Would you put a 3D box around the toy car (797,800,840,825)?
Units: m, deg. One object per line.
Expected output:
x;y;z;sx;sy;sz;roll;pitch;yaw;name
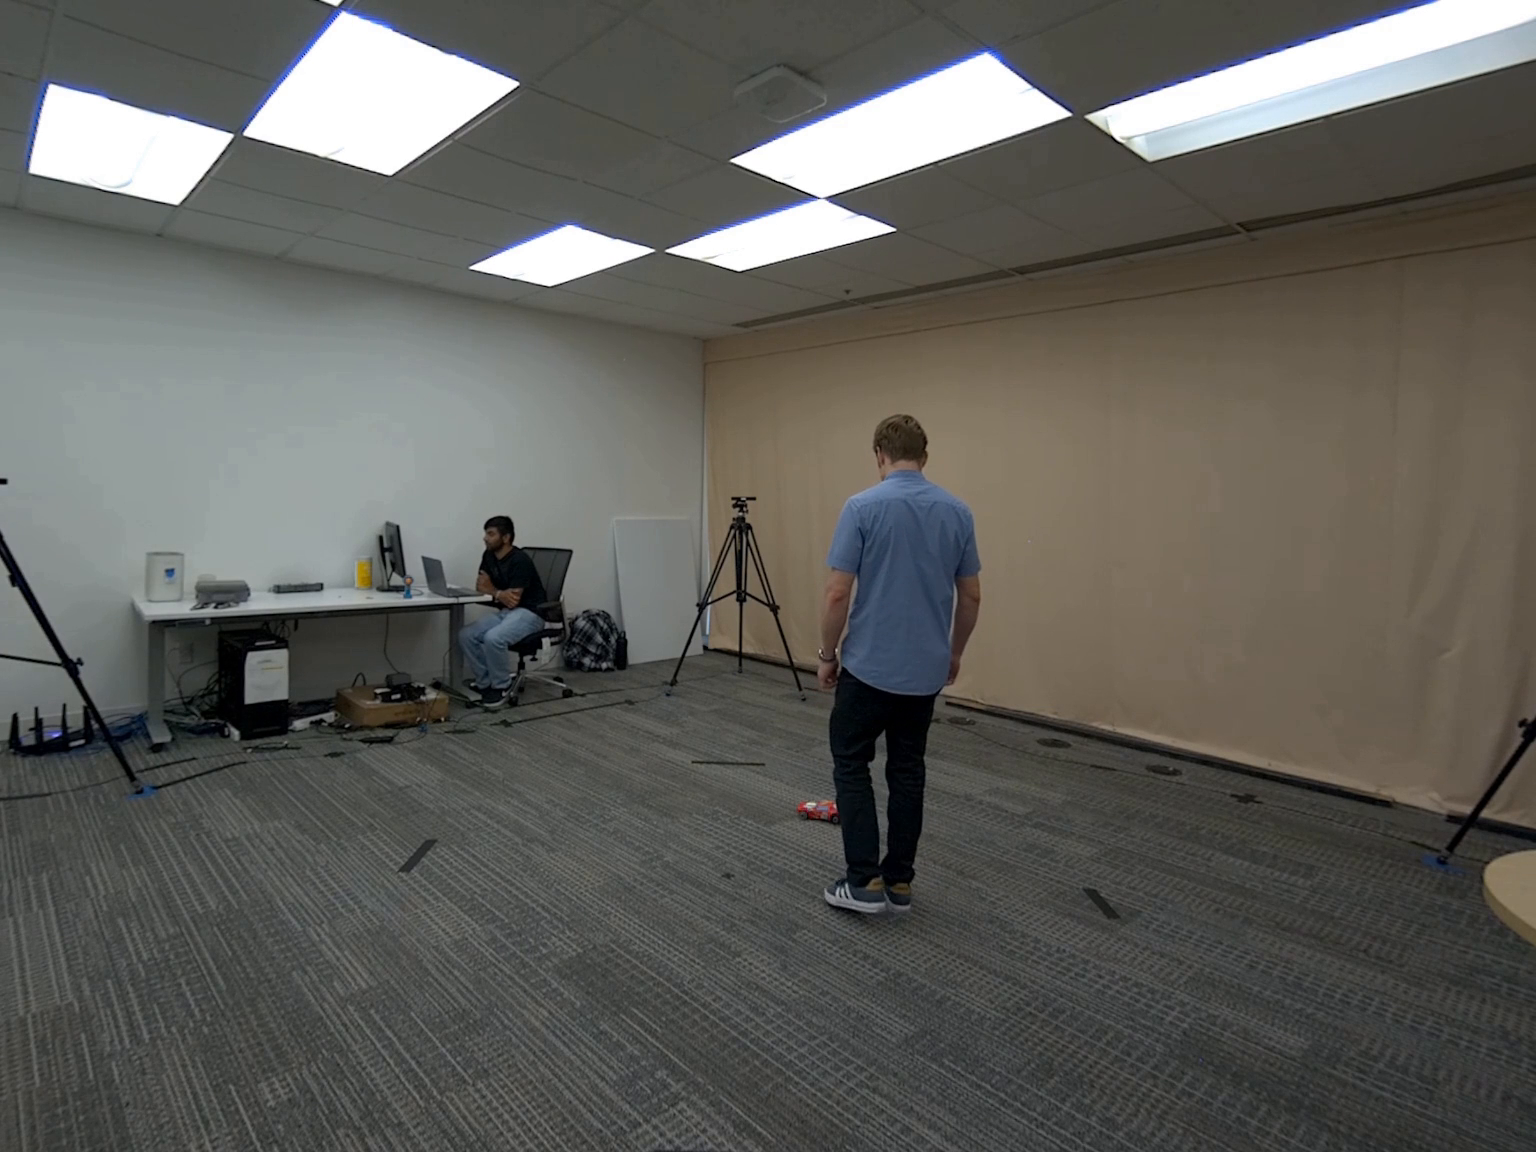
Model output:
0.252;1.035;3.698;0.257;0.083;0.129;-8;2;17;toy car
